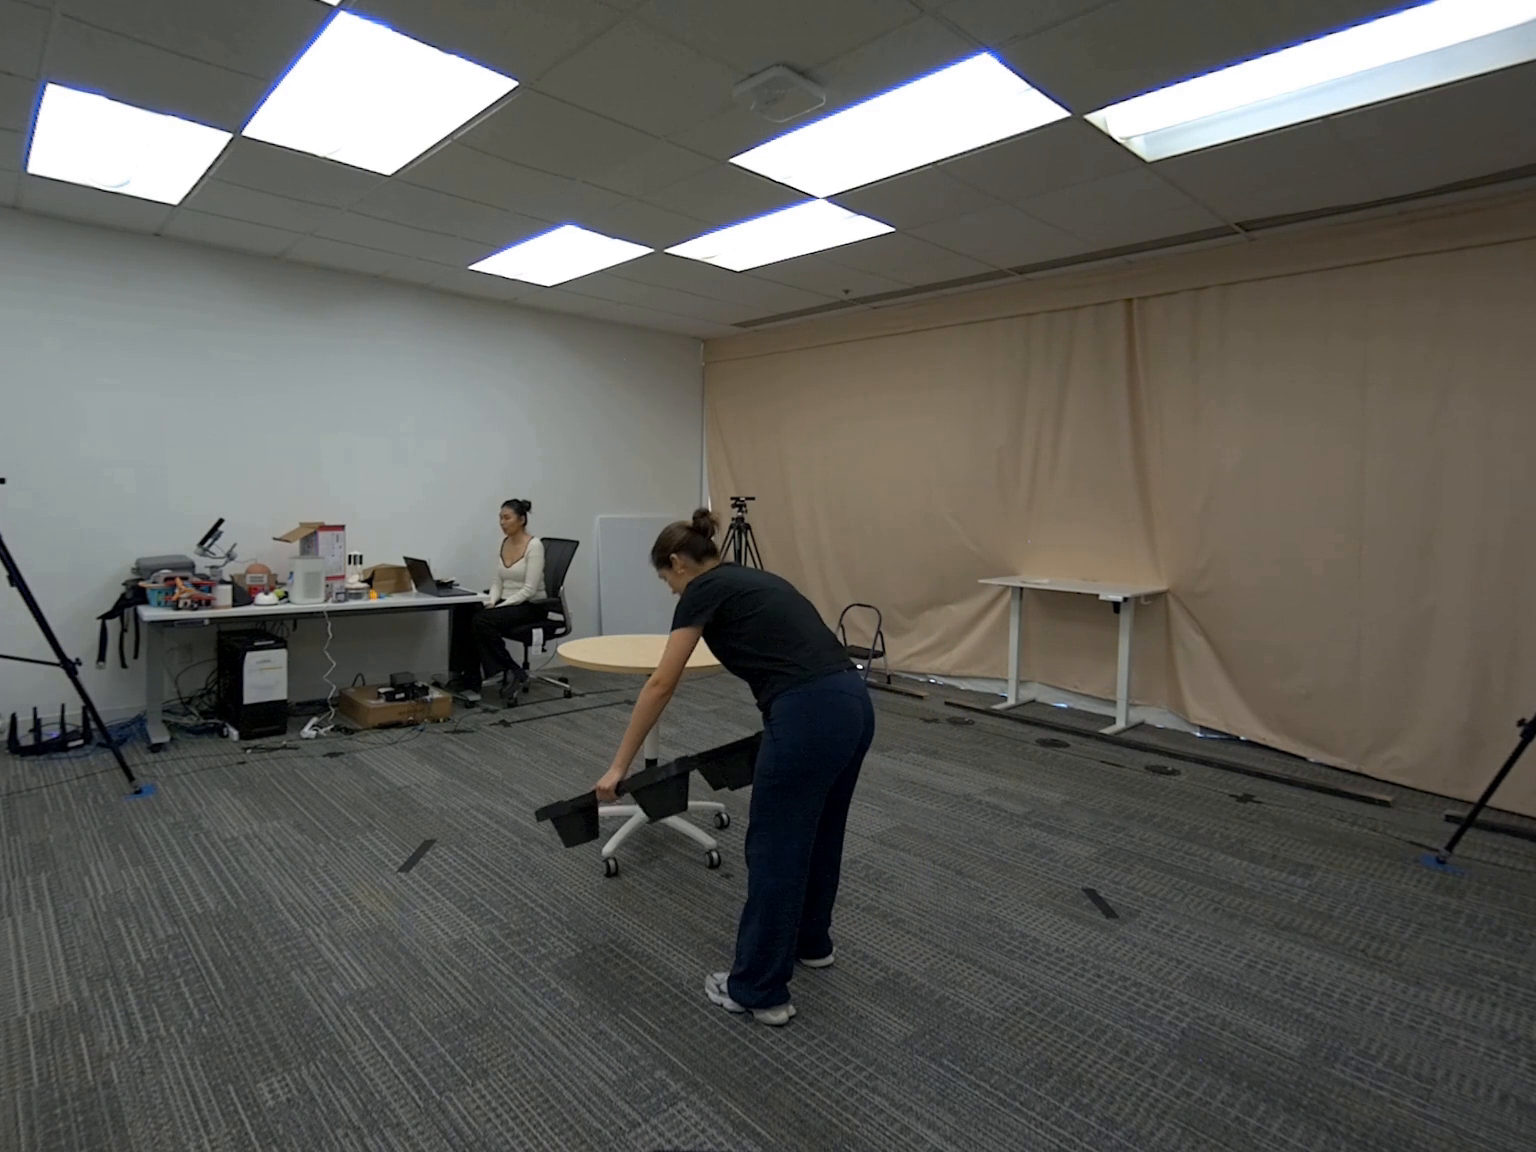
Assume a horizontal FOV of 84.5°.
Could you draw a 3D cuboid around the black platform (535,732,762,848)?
[{"bbox_3d":[-0.218,0.631,2.596,0.611,0.145,0.788,-26,-12,33],"label":"black platform"}]
